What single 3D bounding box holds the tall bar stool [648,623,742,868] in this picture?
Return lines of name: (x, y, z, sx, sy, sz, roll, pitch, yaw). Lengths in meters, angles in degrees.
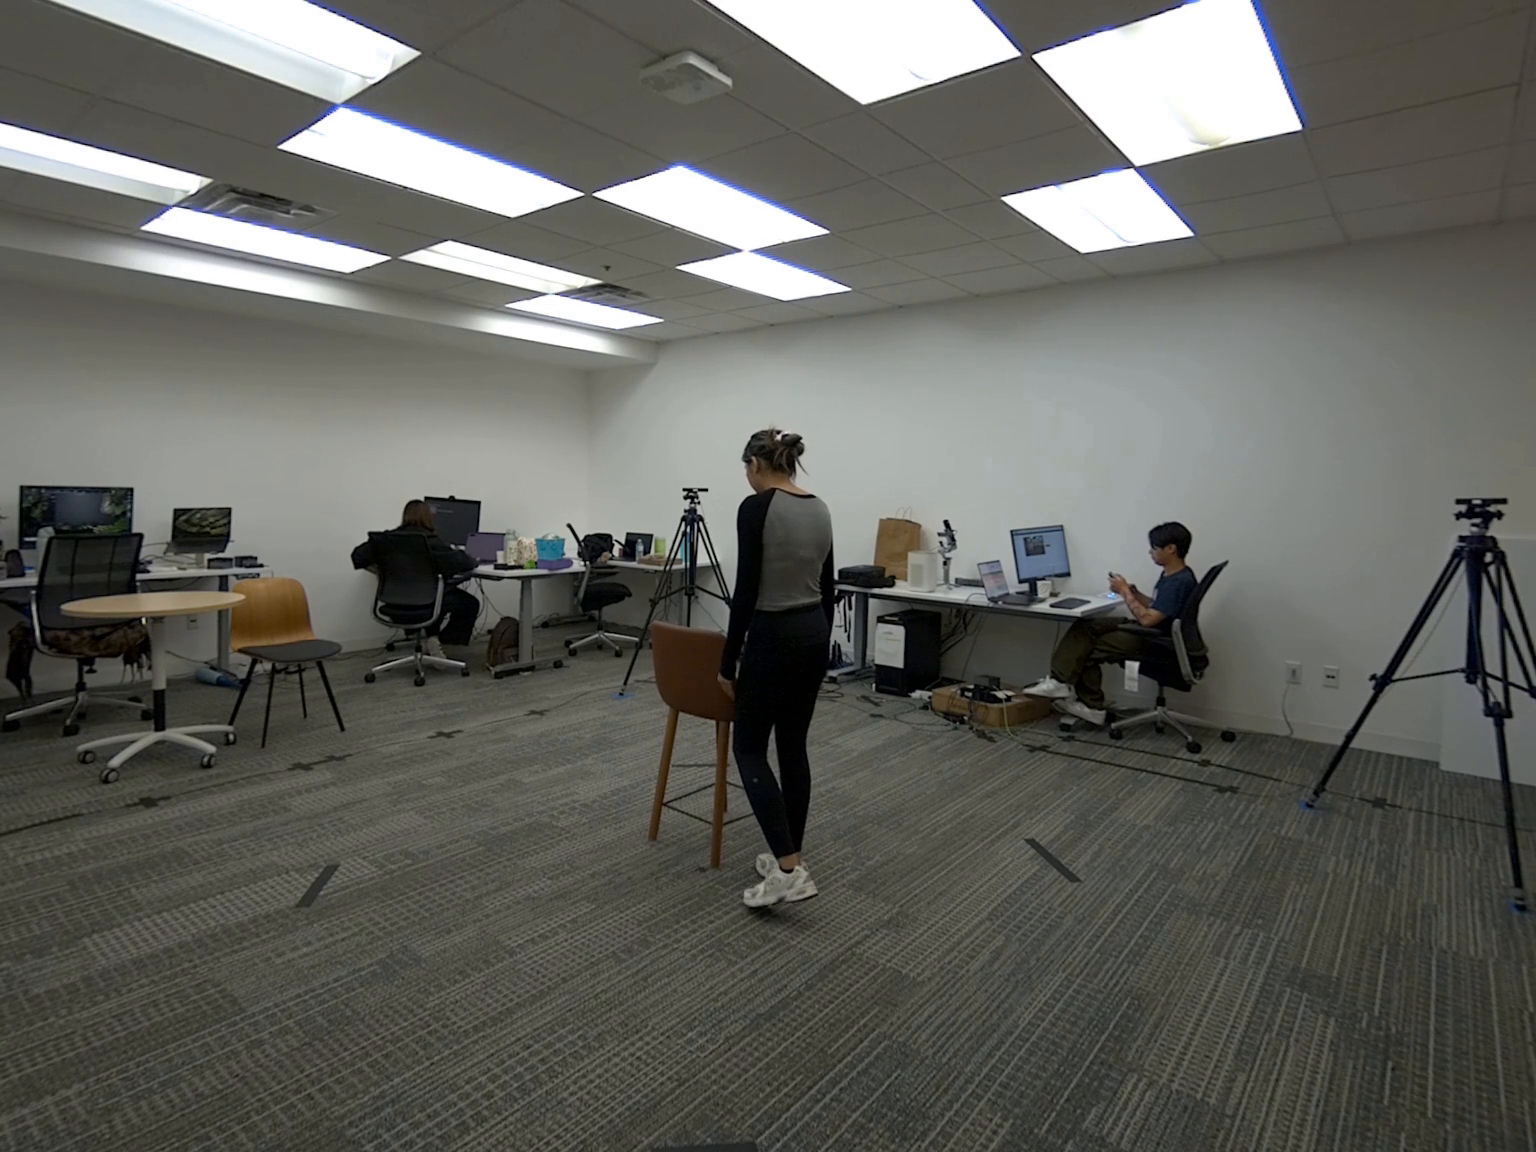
tall bar stool: (-0.201, 0.612, 3.388, 0.472, 0.887, 0.454, 3, 5, 42)
